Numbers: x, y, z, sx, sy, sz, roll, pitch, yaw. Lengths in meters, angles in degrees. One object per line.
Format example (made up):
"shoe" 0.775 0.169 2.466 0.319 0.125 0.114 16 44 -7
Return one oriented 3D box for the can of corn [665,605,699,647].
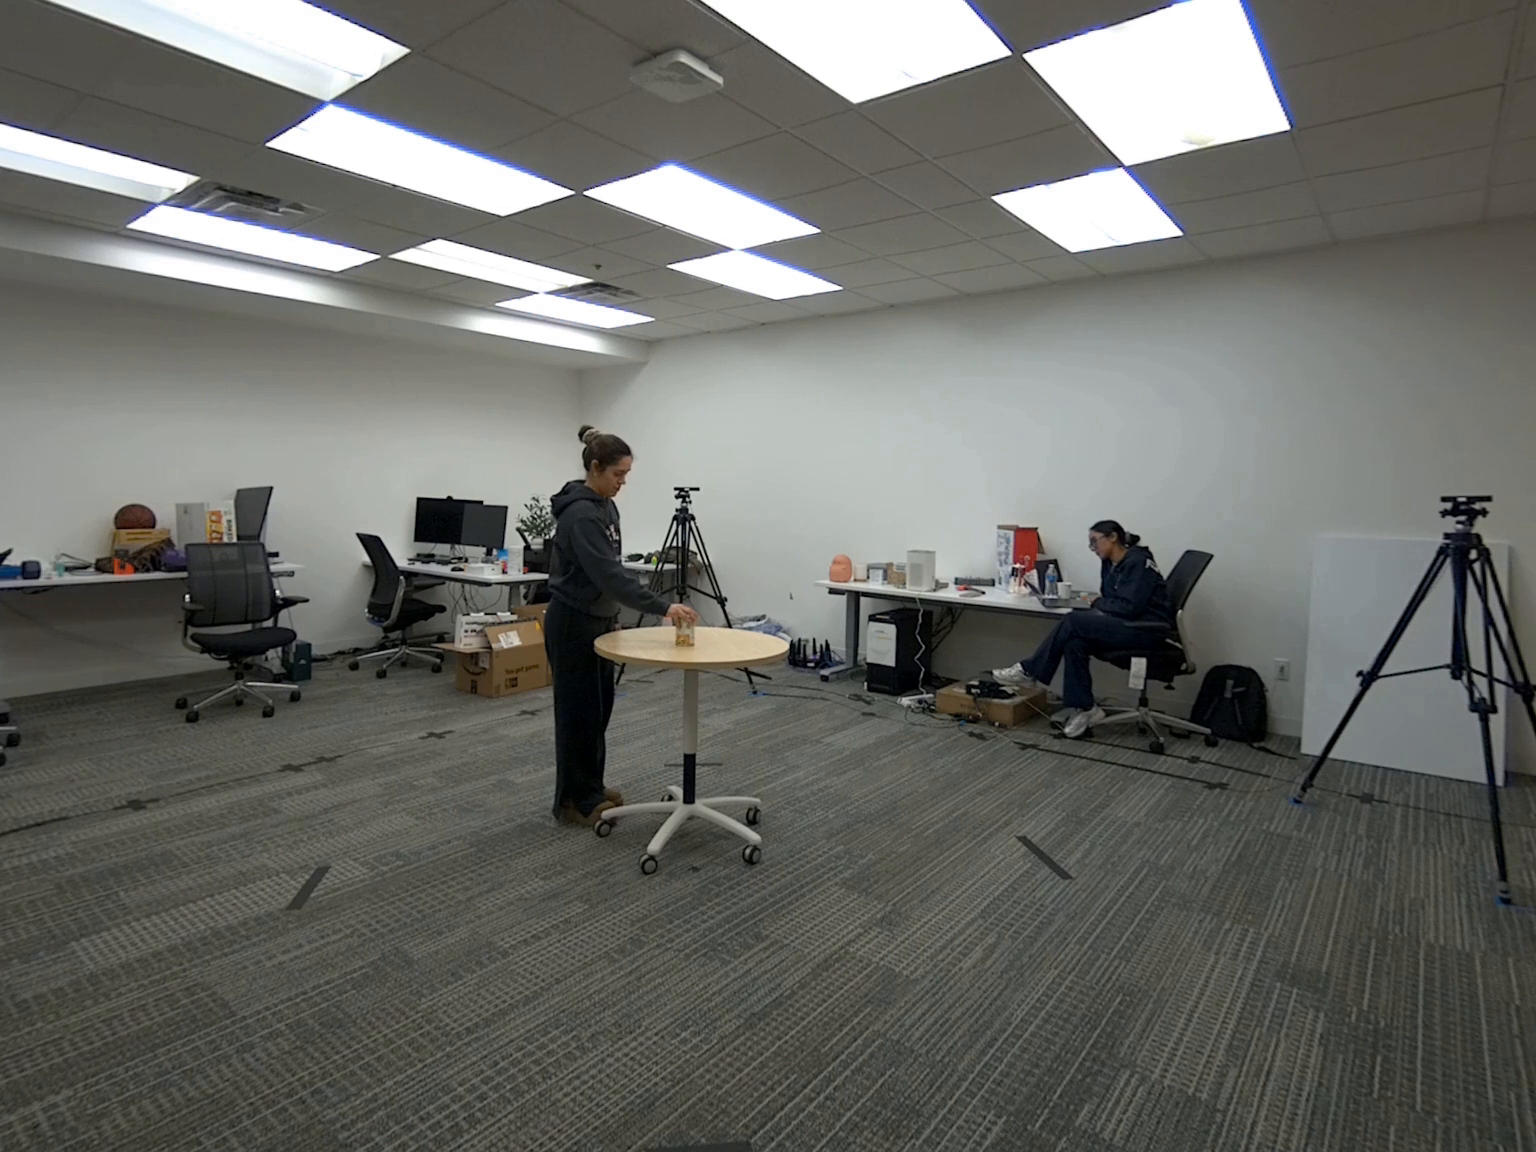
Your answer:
"can of corn" -0.330 0.208 3.296 0.074 0.111 0.074 -4 4 -2
